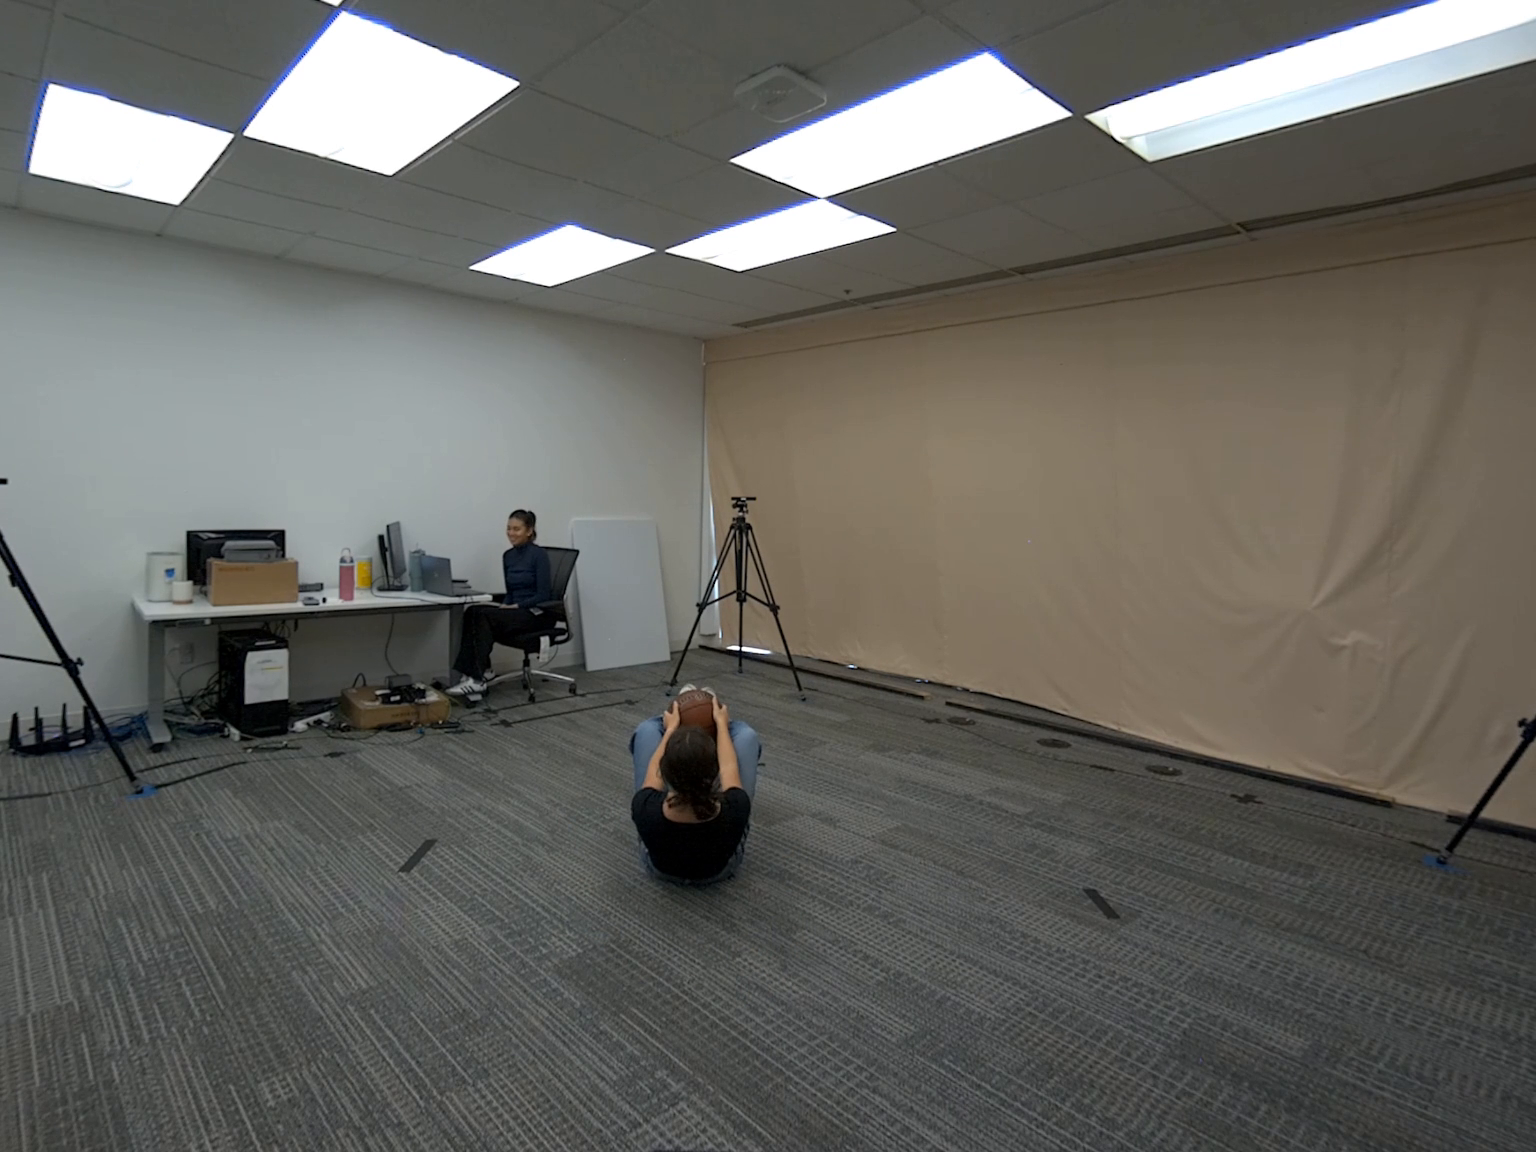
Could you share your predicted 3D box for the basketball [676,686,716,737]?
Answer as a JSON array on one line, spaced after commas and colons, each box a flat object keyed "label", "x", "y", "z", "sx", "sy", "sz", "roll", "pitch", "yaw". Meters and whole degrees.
[{"label": "basketball", "x": -0.299, "y": 0.572, "z": 3.415, "sx": 0.236, "sy": 0.235, "sz": 0.237, "roll": 1, "pitch": 4, "yaw": -1}]
